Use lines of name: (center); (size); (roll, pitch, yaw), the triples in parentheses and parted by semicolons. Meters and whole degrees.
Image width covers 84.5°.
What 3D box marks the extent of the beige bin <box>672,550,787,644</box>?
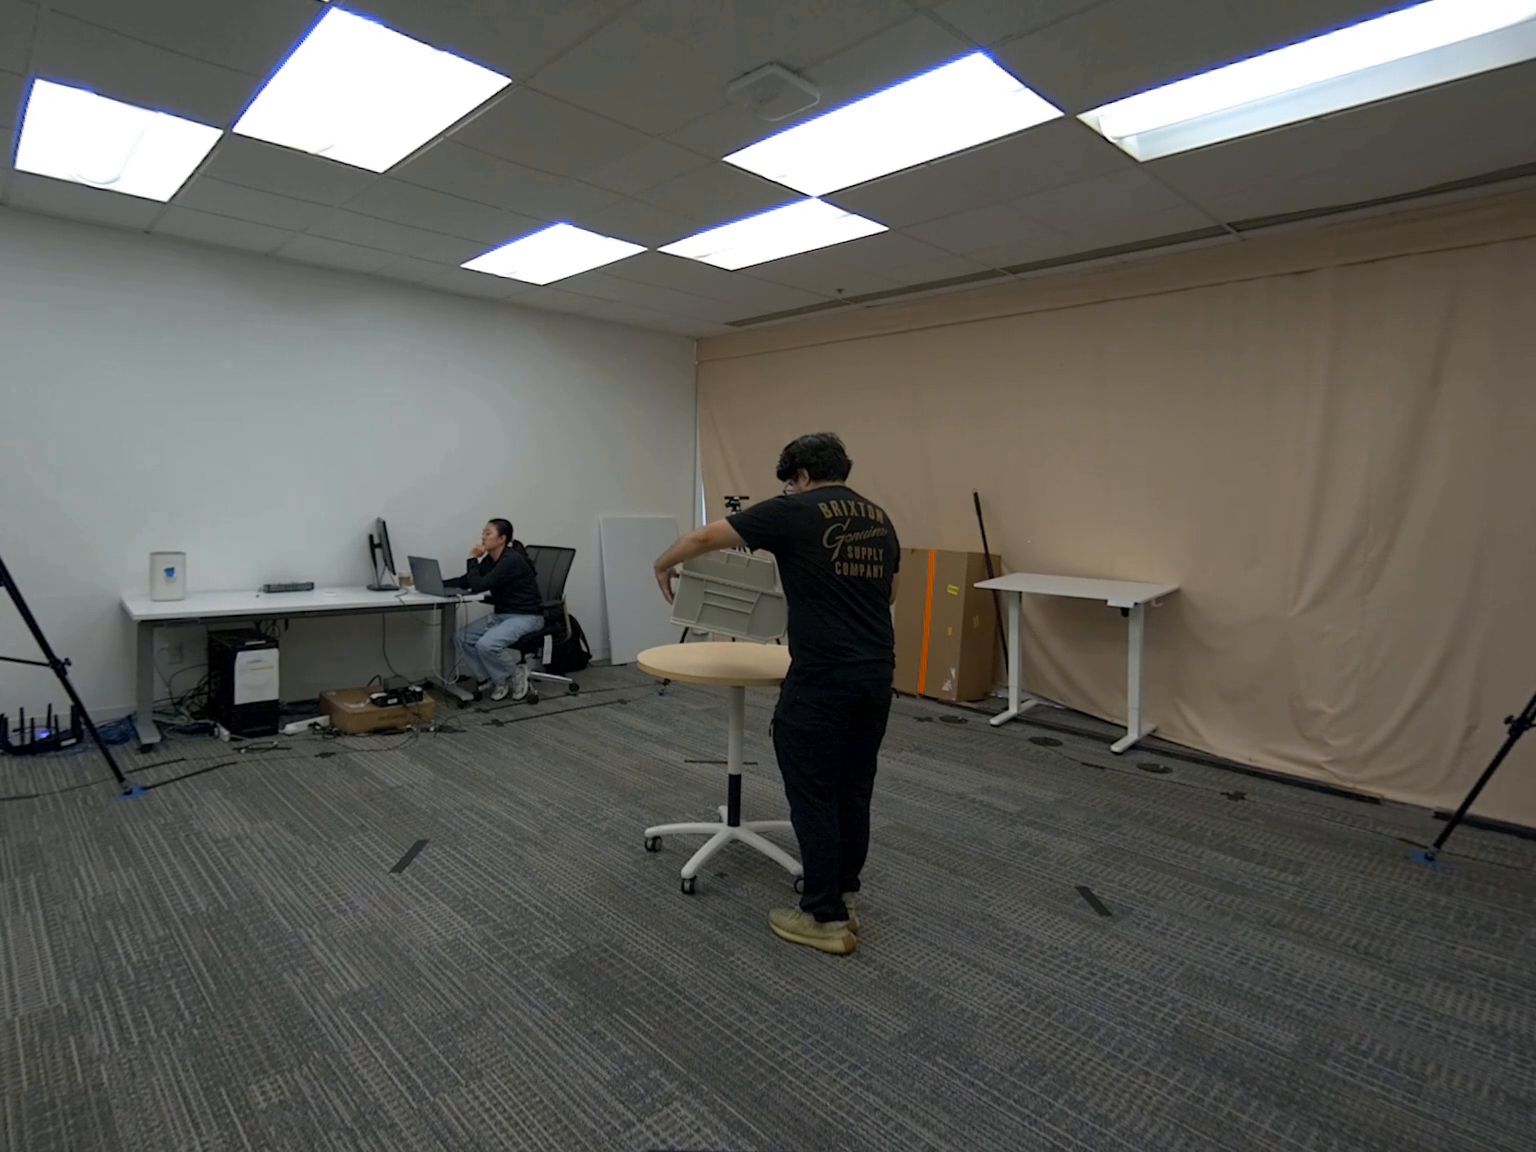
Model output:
beige bin: (-0.136, 0.054, 2.844); (0.375, 0.187, 0.428); (12, 15, -7)
